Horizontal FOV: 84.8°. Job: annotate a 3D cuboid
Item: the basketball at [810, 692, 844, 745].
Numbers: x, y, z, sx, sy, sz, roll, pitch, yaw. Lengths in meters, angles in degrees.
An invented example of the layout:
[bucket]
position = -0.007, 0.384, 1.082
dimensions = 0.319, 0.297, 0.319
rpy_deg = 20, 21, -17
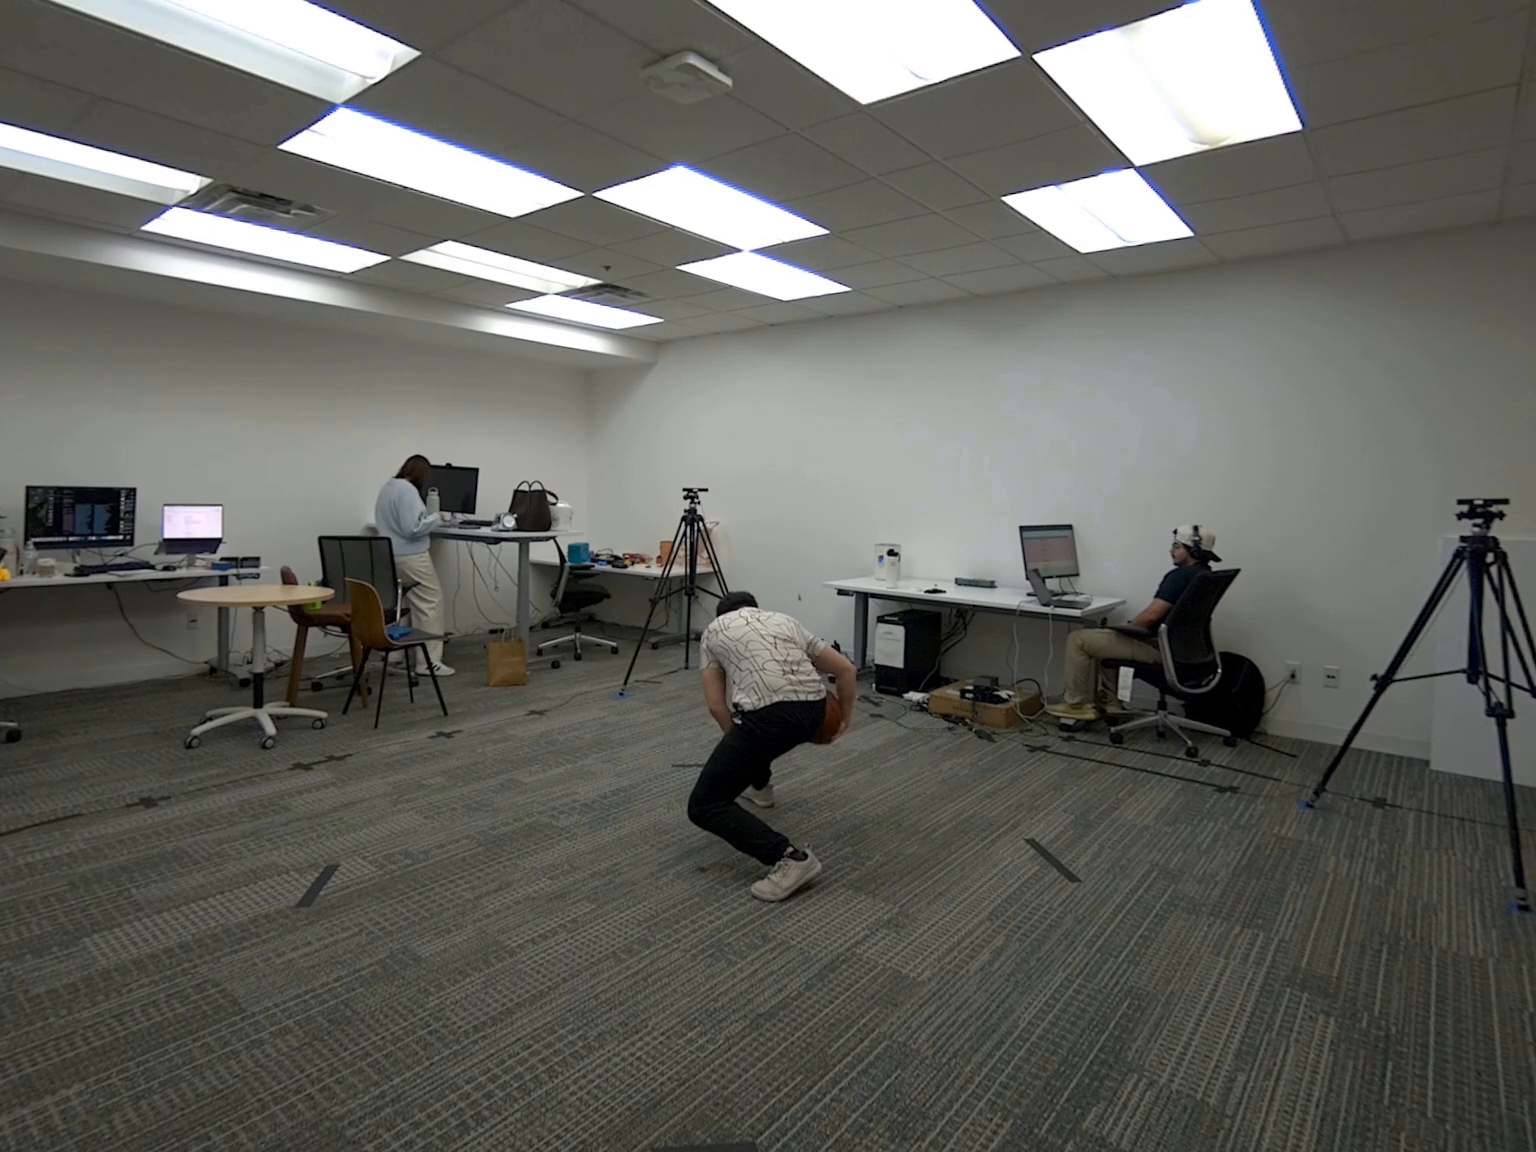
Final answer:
[basketball]
position = 0.190, 0.611, 3.643
dimensions = 0.235, 0.235, 0.237
rpy_deg = 1, 4, -2
